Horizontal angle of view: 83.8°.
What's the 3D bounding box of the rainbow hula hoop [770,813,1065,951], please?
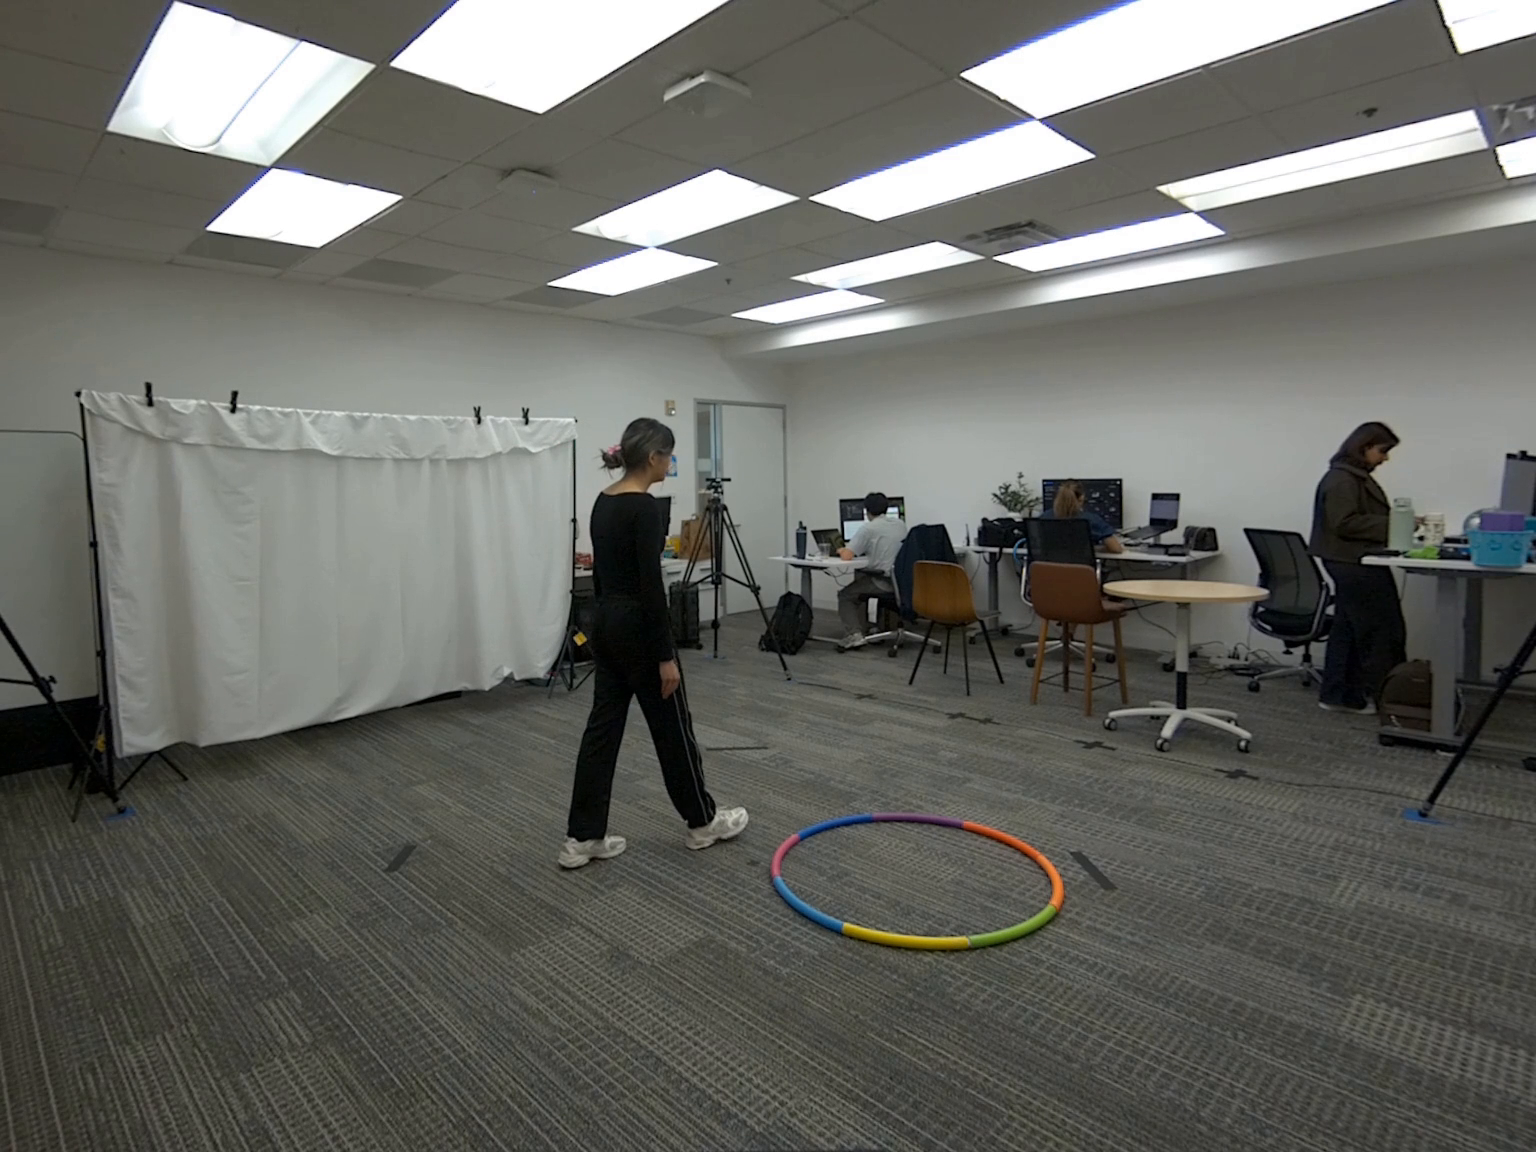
[{"bbox_3d":[0.499,1.016,2.989,0.978,0.035,0.984,-2,7,-2],"label":"rainbow hula hoop"}]
